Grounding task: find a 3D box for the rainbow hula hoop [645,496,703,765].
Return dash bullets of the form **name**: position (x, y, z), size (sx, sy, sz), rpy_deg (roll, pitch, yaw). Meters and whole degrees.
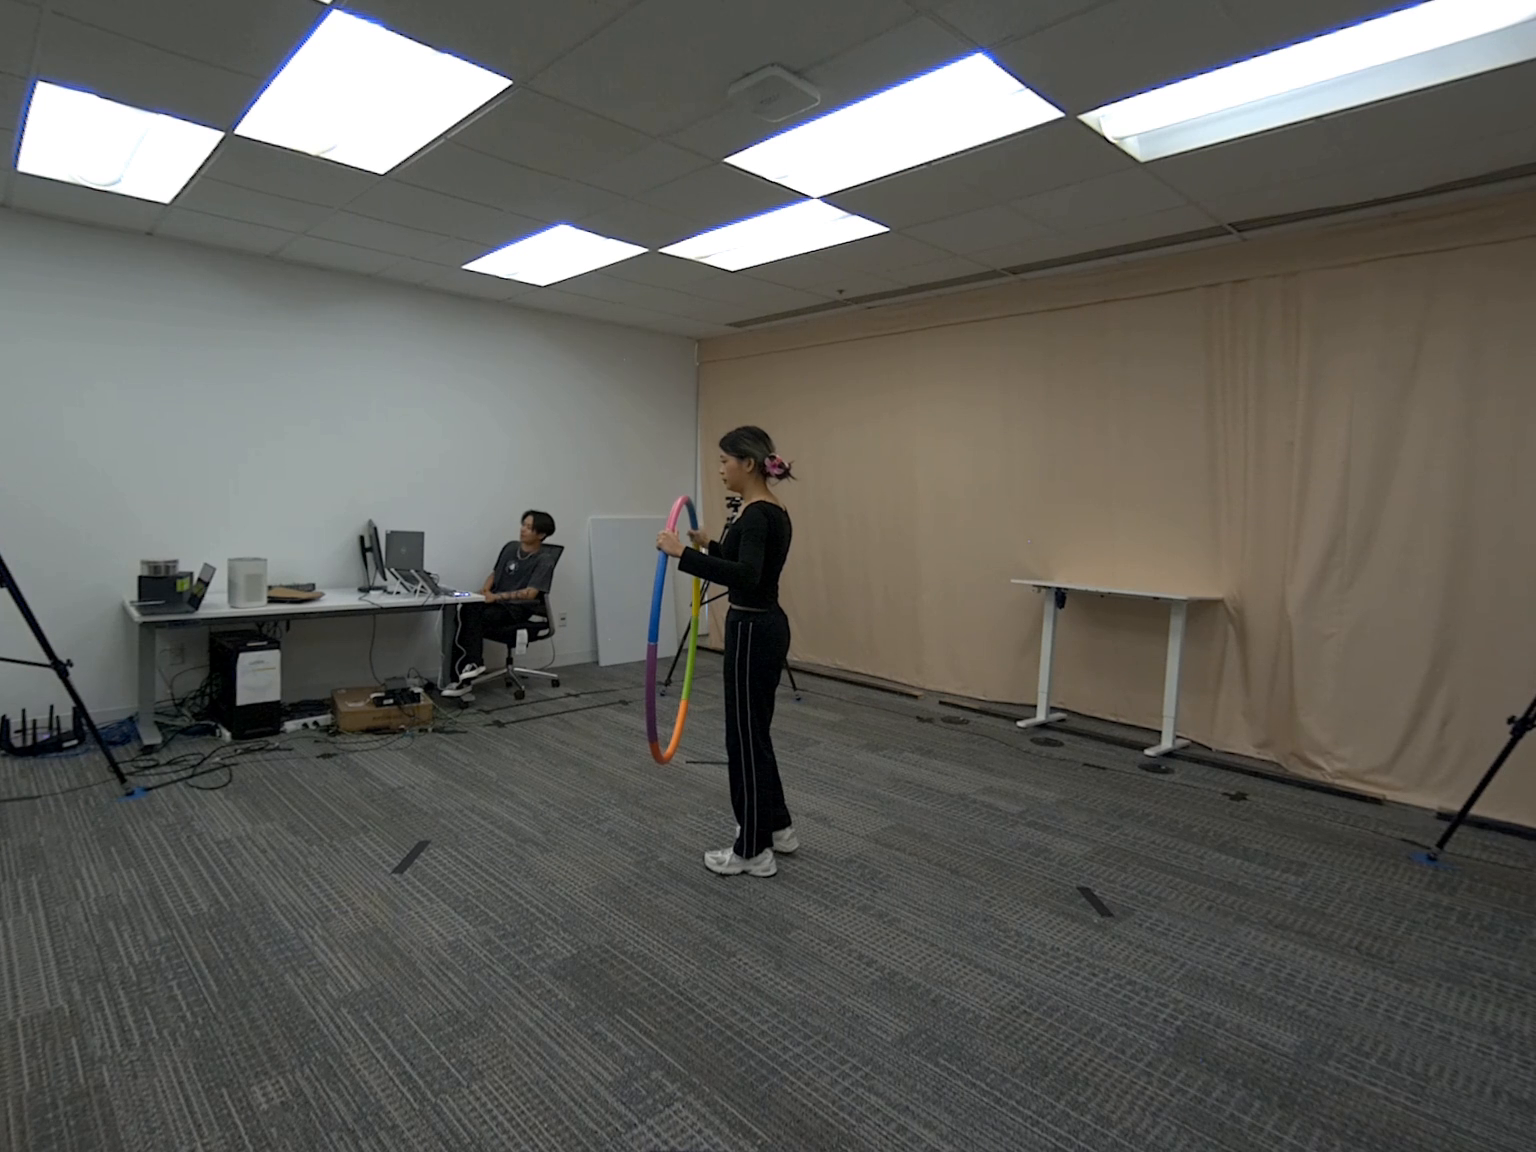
- **rainbow hula hoop**: position (-0.350, 0.200, 3.147), size (0.036, 0.976, 0.976), rpy_deg (4, 4, 4)
